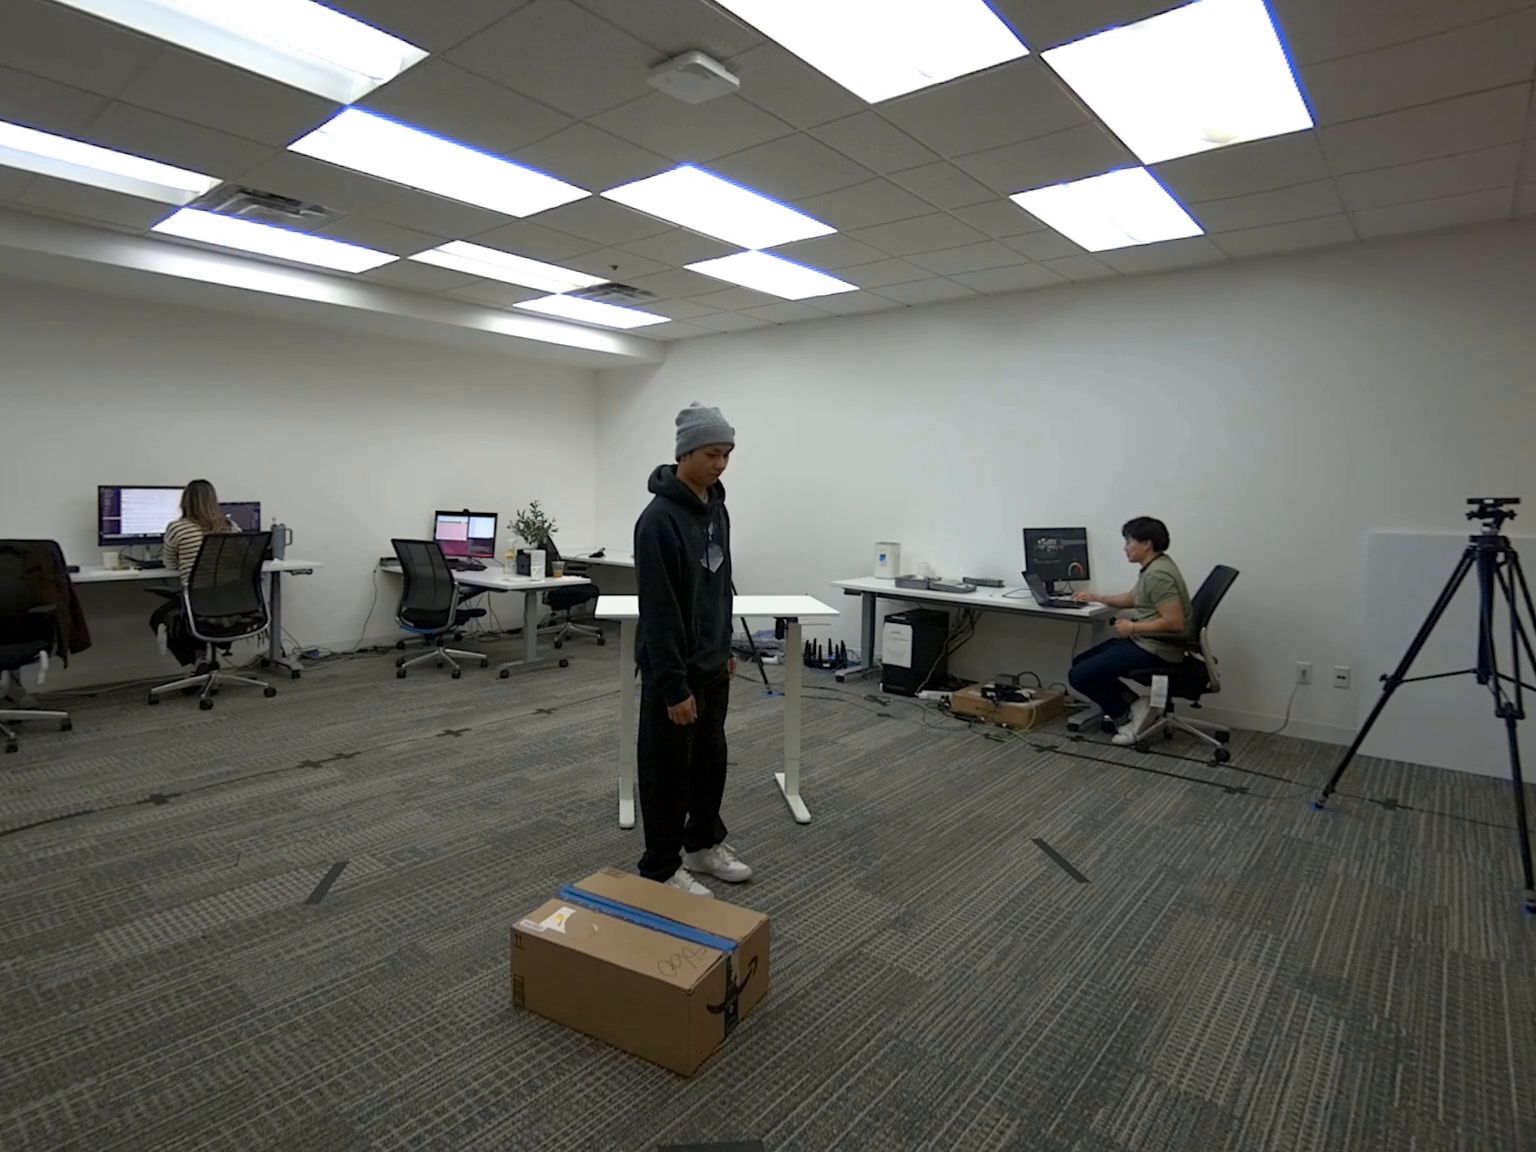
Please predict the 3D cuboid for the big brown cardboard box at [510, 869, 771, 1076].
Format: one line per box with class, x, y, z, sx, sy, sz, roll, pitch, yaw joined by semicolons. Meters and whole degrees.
big brown cardboard box;-0.353;1.032;2.310;0.606;0.232;0.408;5;6;28
